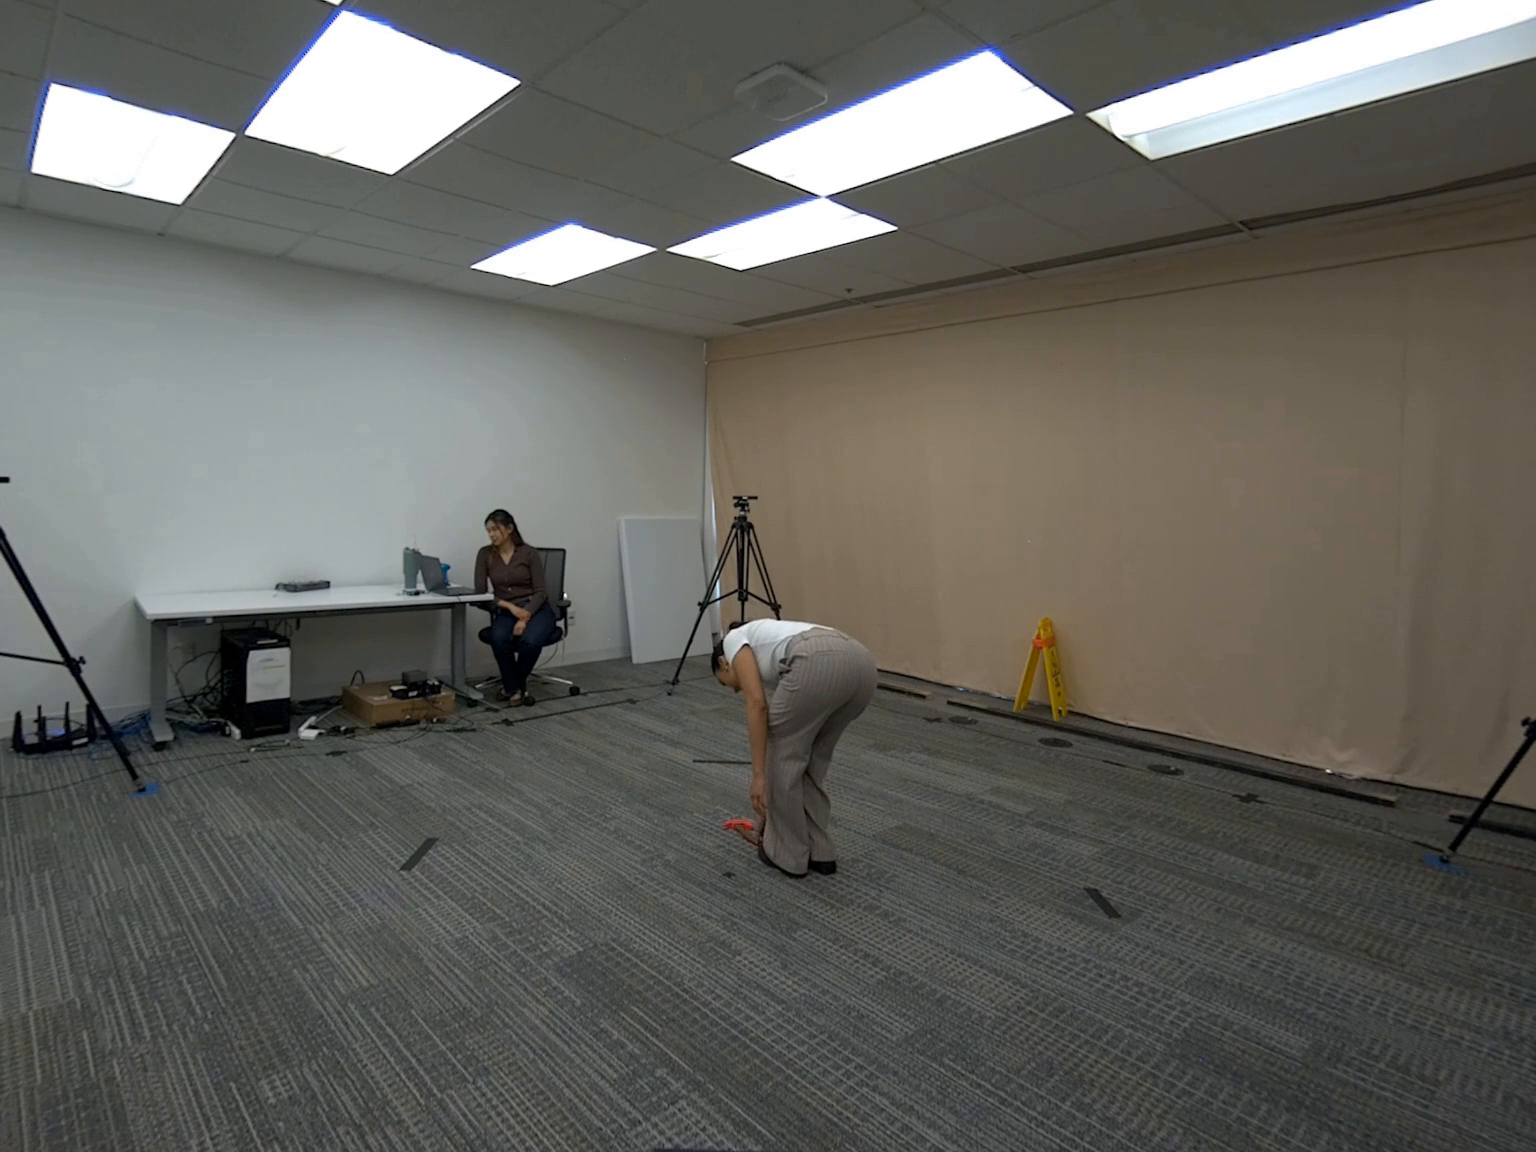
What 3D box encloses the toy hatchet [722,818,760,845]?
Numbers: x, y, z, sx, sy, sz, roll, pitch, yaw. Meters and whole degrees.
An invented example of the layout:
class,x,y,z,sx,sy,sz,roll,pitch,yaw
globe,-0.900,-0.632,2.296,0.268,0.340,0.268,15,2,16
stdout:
class,x,y,z,sx,sy,sz,roll,pitch,yaw
toy hatchet,-0.067,1.055,3.474,0.128,0.029,0.277,-4,9,-42
